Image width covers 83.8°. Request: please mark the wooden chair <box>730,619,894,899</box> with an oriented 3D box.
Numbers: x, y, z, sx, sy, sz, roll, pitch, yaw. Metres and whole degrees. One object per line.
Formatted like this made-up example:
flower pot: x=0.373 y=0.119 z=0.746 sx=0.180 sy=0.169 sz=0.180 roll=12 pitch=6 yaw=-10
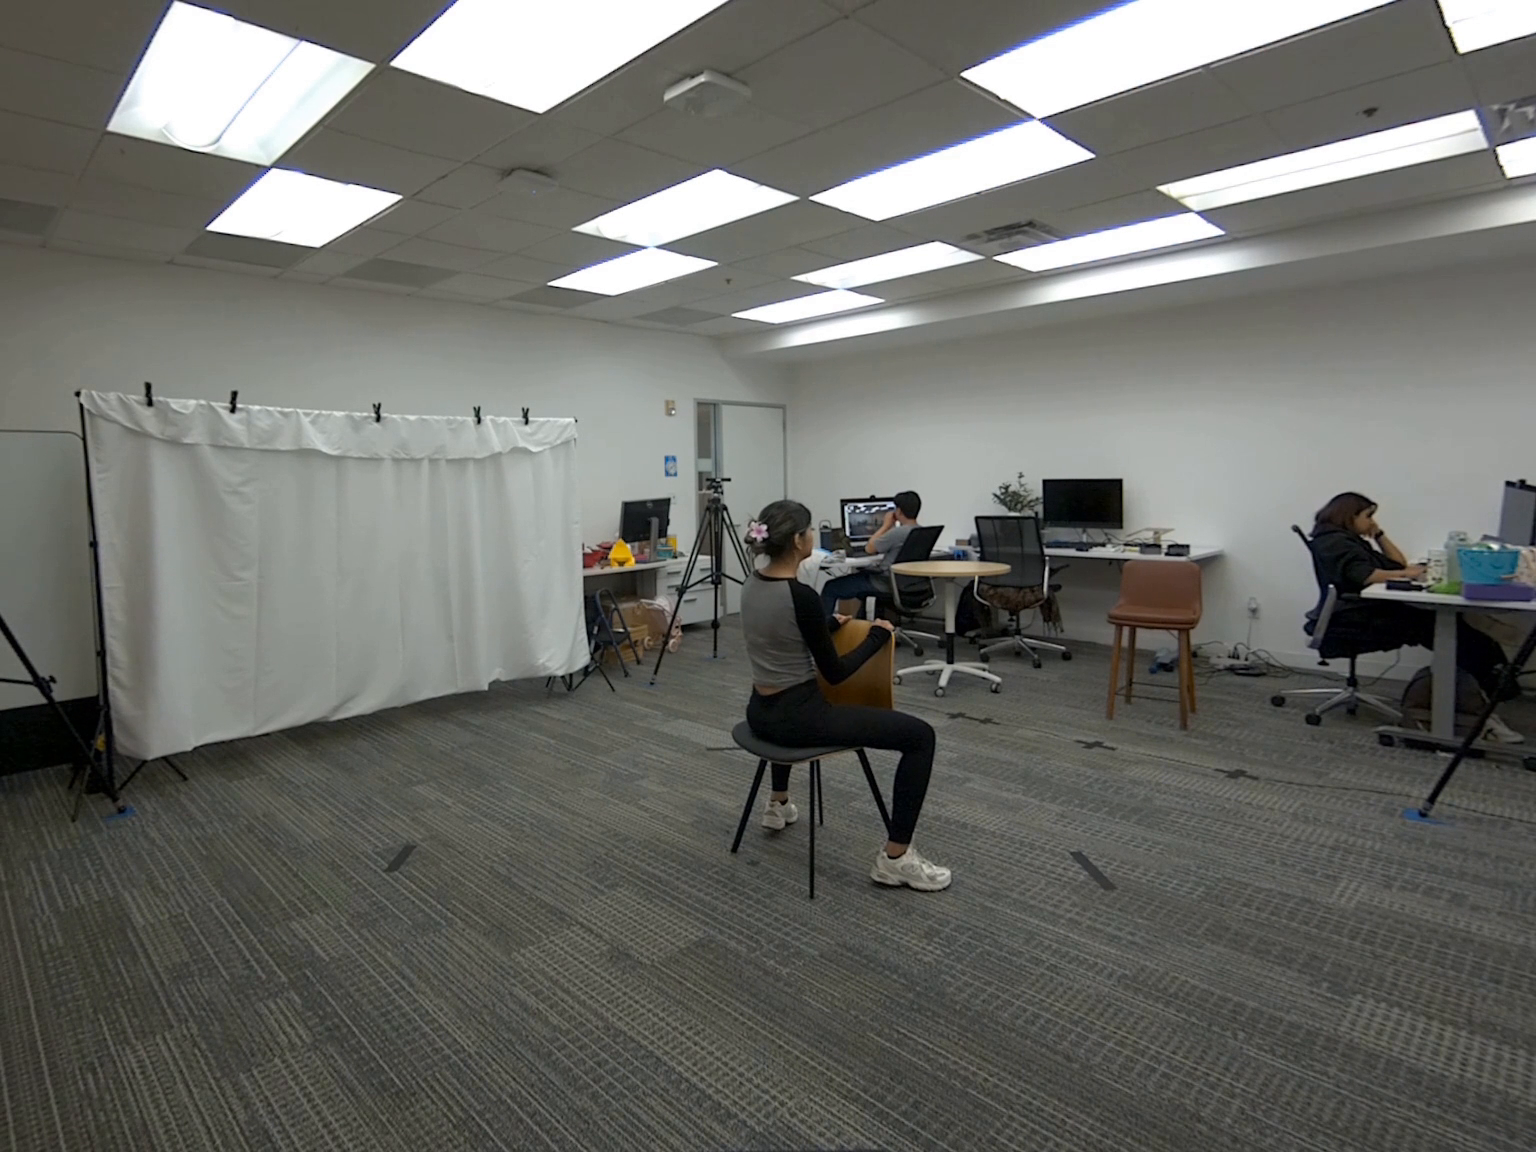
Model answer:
wooden chair: x=0.166 y=0.614 z=3.100 sx=0.508 sy=0.877 sz=0.492 roll=2 pitch=1 yaw=-37
